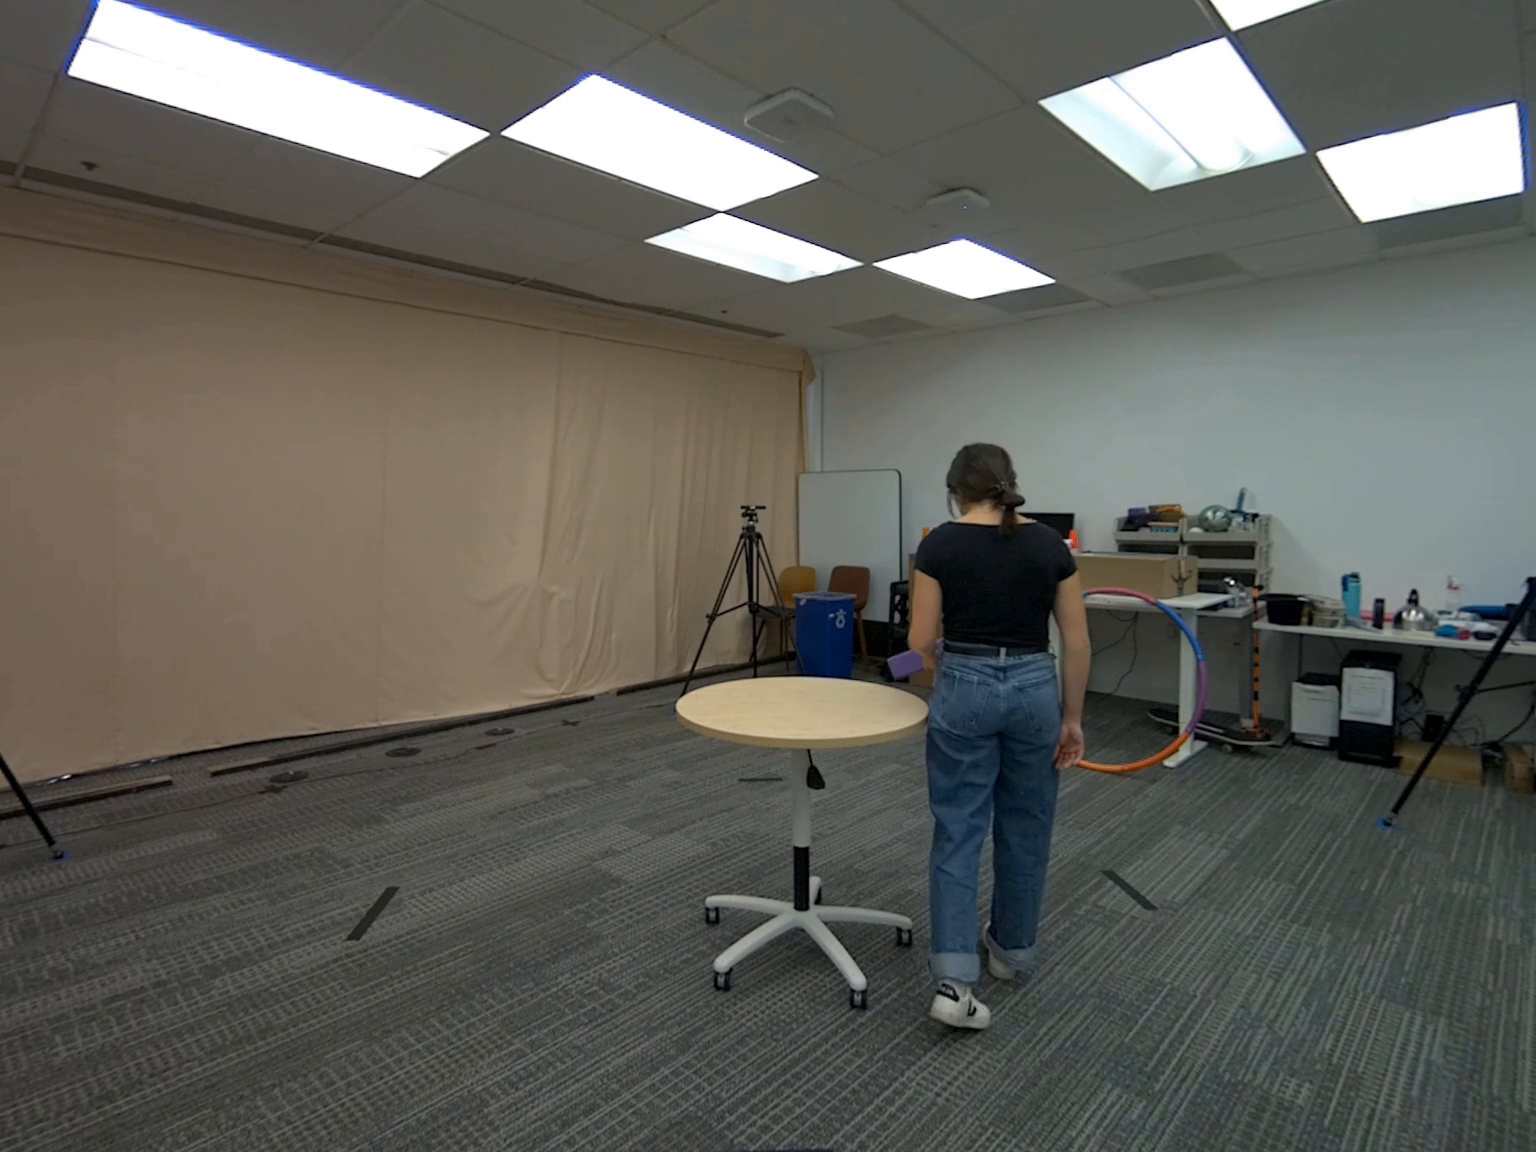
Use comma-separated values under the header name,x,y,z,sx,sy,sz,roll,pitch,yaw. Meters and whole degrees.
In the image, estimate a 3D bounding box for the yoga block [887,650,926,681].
name,x,y,z,sx,sy,sz,roll,pitch,yaw
yoga block,0.529,0.269,2.766,0.145,0.077,0.233,-12,-13,-35
